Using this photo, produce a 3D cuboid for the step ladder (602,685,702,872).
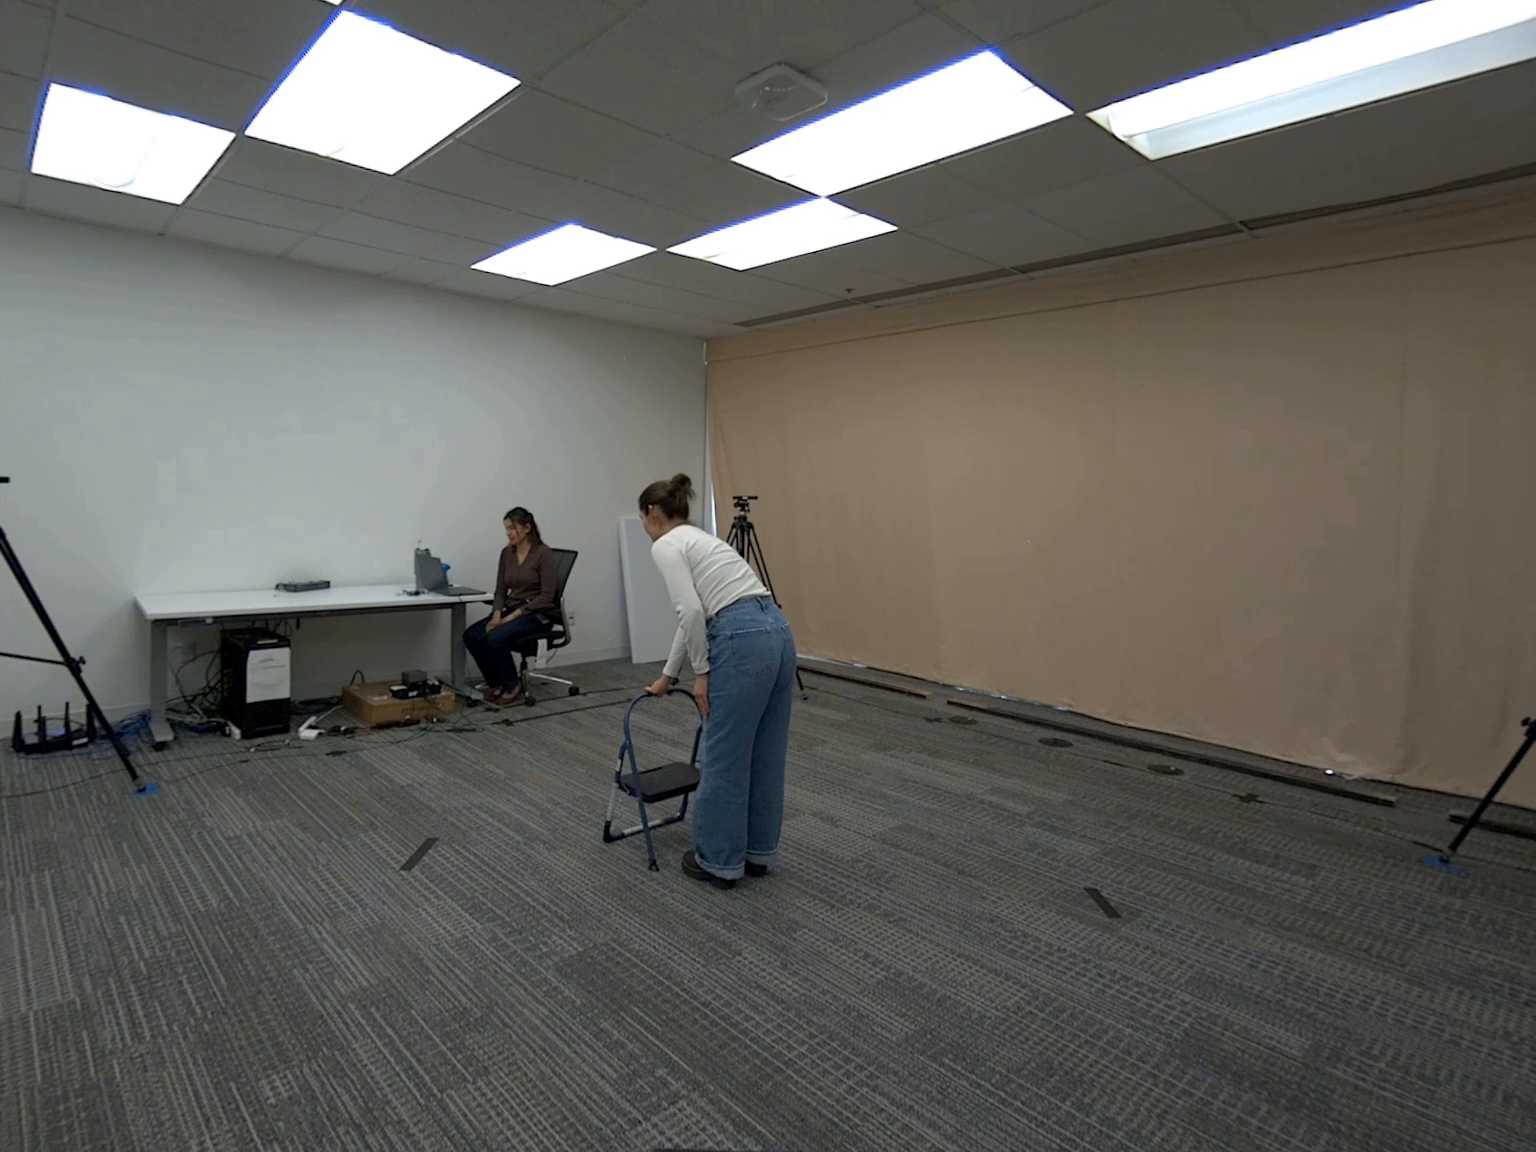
[{"bbox_3d":[-0.396,0.770,3.371,0.421,0.604,0.358,-2,6,-45],"label":"step ladder"}]
